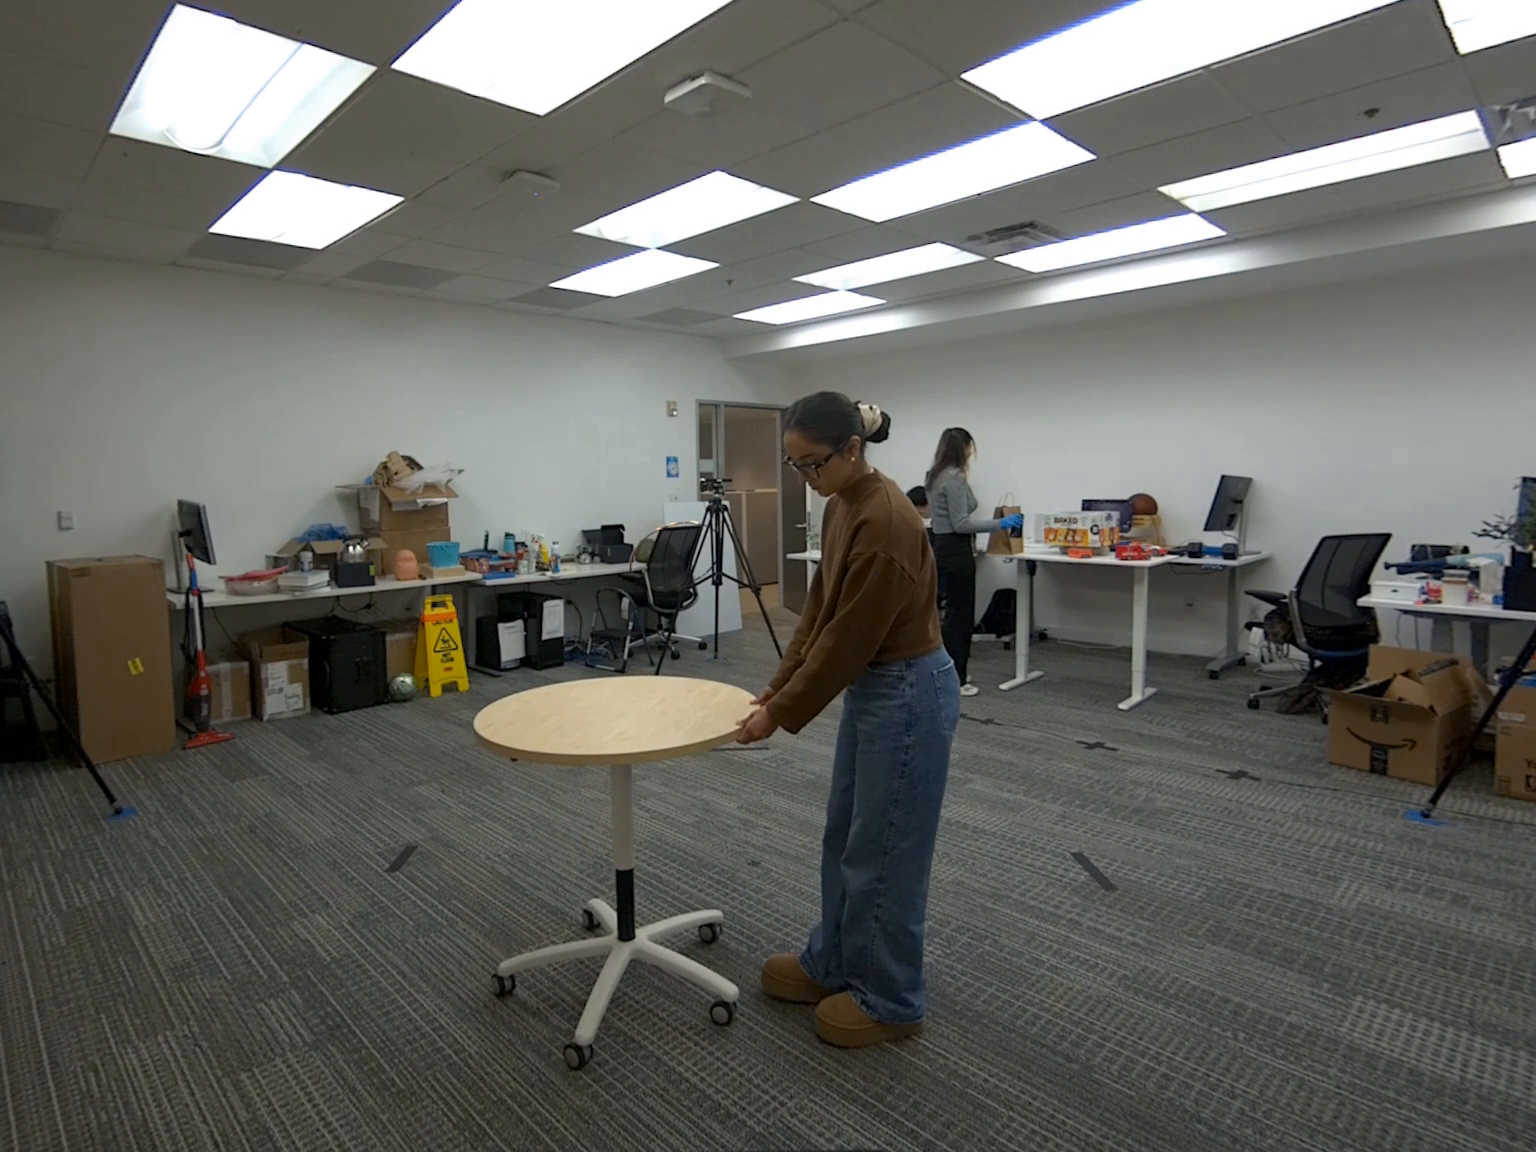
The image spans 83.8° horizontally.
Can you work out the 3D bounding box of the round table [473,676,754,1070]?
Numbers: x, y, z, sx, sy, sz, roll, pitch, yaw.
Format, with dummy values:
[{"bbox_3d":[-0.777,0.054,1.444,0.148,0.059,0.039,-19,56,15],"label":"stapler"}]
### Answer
[{"bbox_3d":[-0.389,0.751,2.352,0.763,0.791,0.768,-2,5,-2],"label":"round table"}]
